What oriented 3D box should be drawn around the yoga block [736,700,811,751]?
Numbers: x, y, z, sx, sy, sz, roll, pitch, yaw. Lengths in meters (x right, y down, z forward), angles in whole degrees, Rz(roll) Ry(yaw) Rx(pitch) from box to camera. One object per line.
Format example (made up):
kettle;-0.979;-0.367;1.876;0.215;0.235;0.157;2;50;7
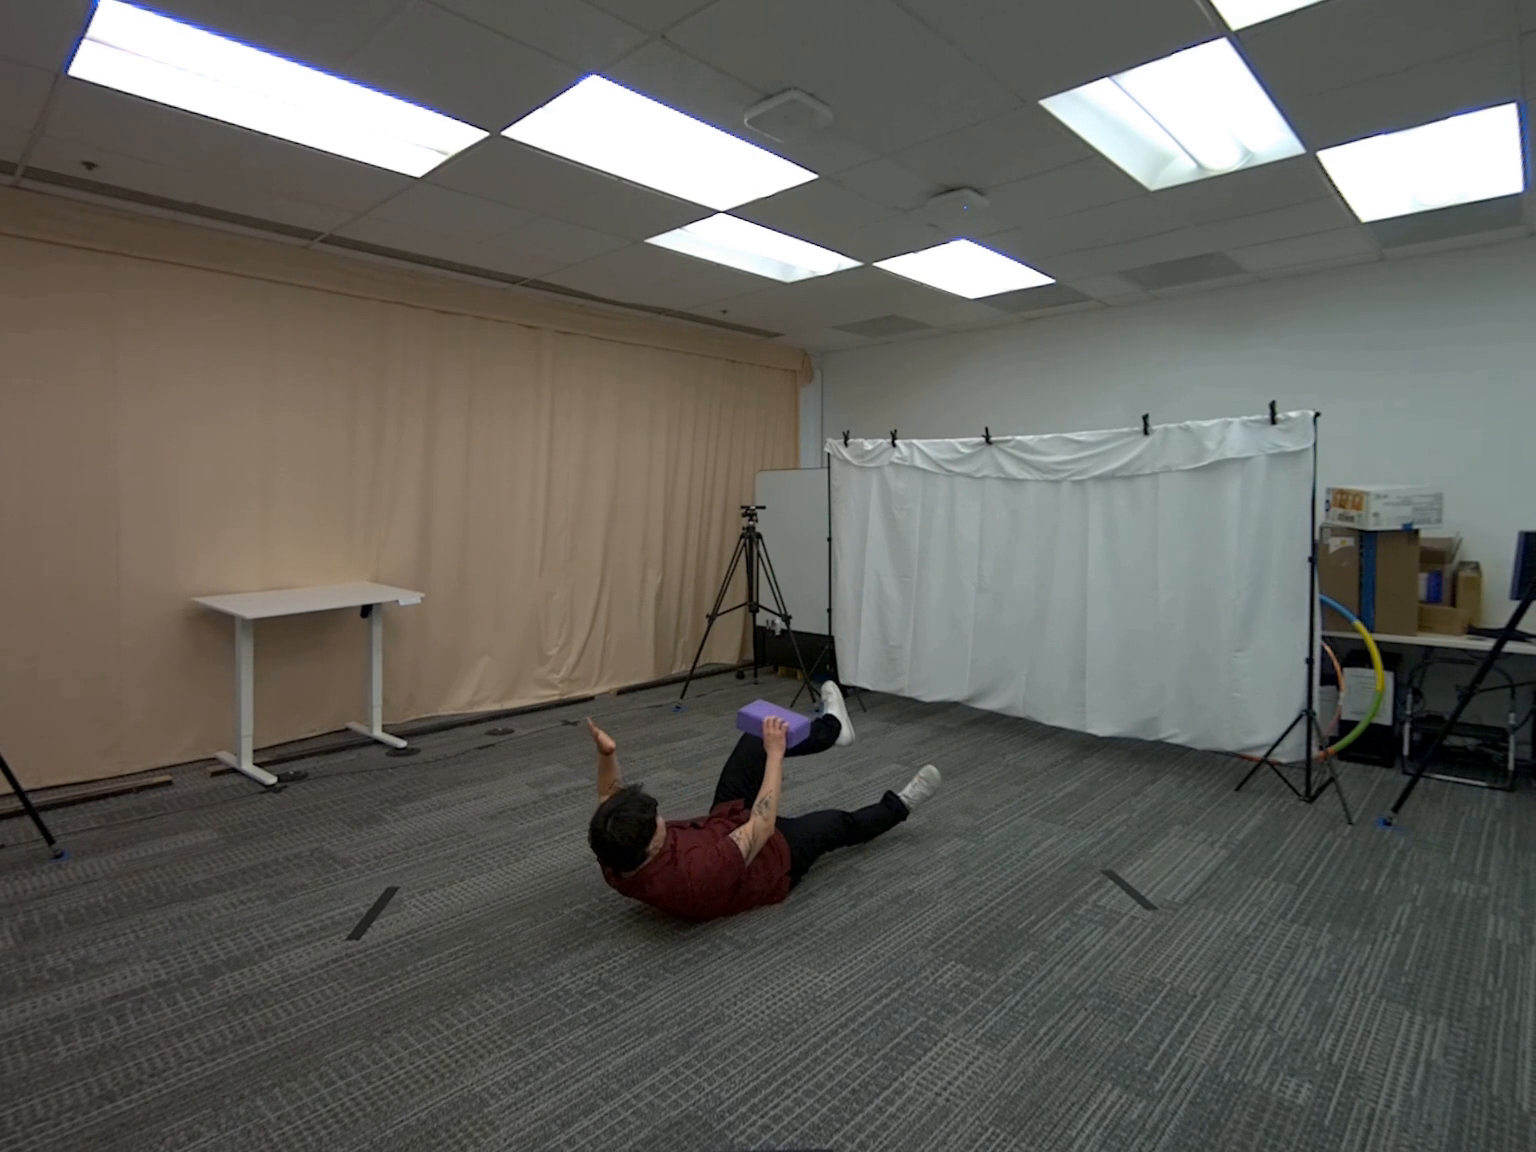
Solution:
yoga block;0.026;0.525;2.997;0.236;0.076;0.145;15;16;28
